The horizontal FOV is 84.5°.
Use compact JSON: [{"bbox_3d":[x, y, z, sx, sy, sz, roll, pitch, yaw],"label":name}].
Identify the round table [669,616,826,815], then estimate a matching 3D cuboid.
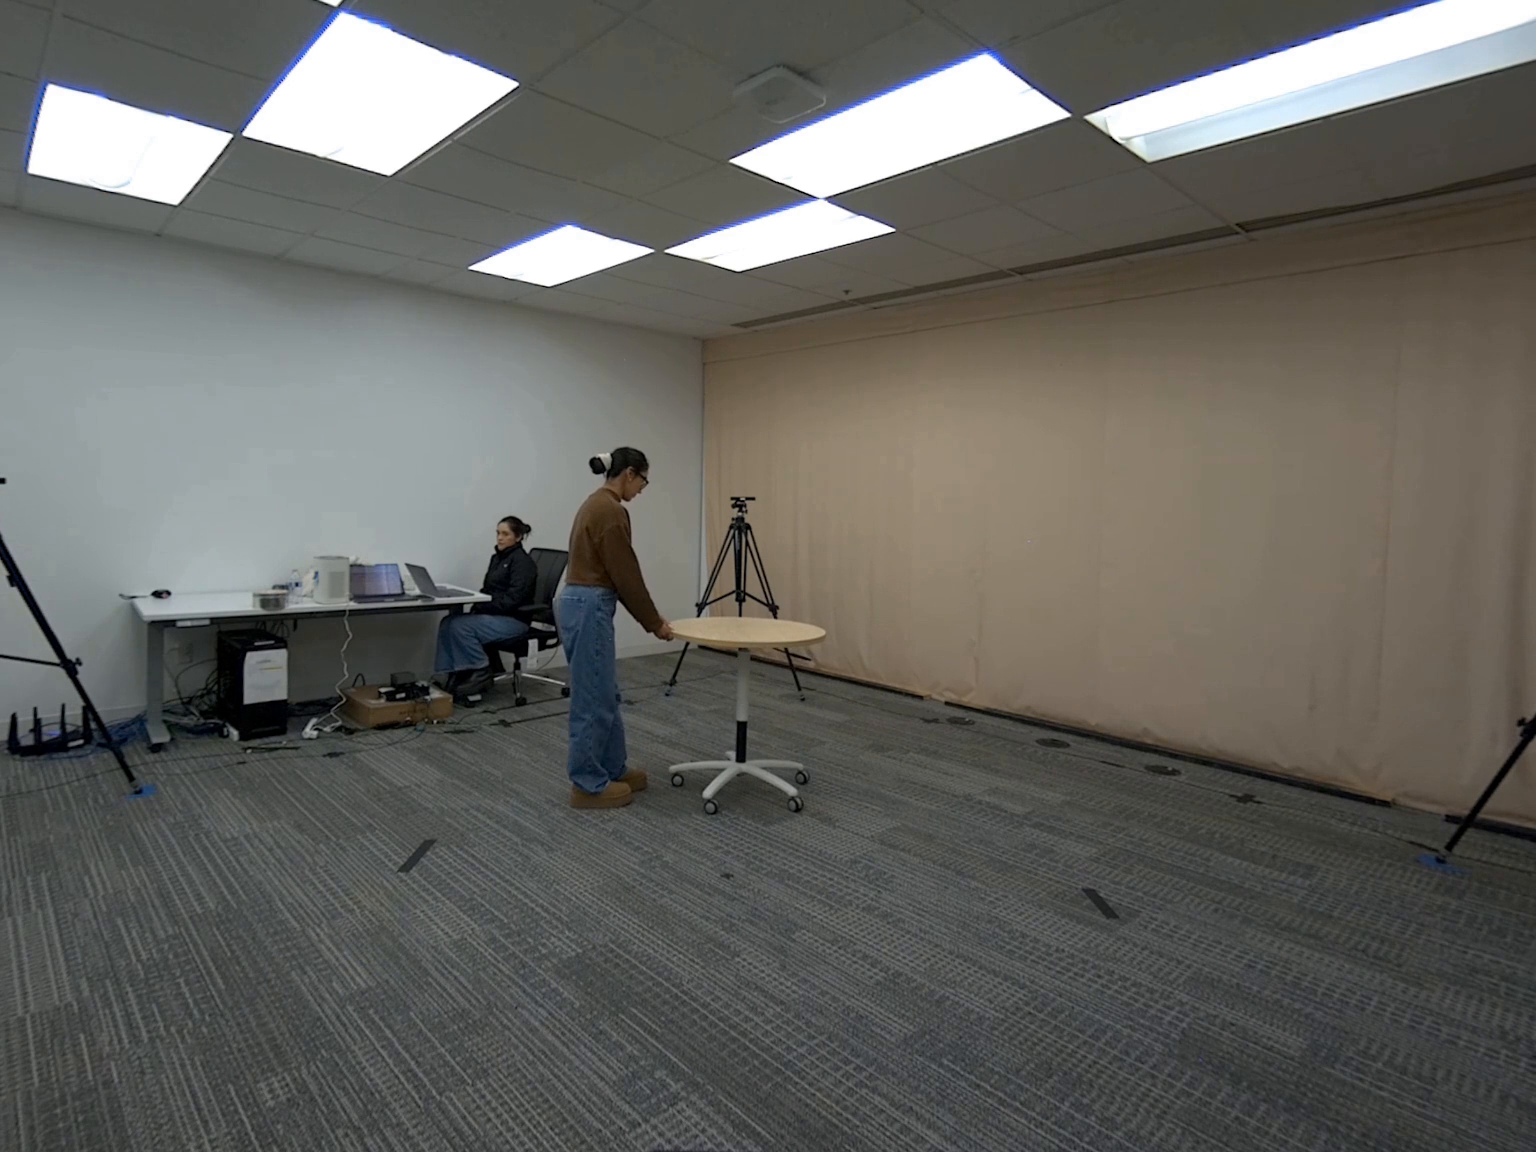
[{"bbox_3d":[-0.133,0.641,4.007,0.763,0.792,0.766,2,4,-2],"label":"round table"}]
